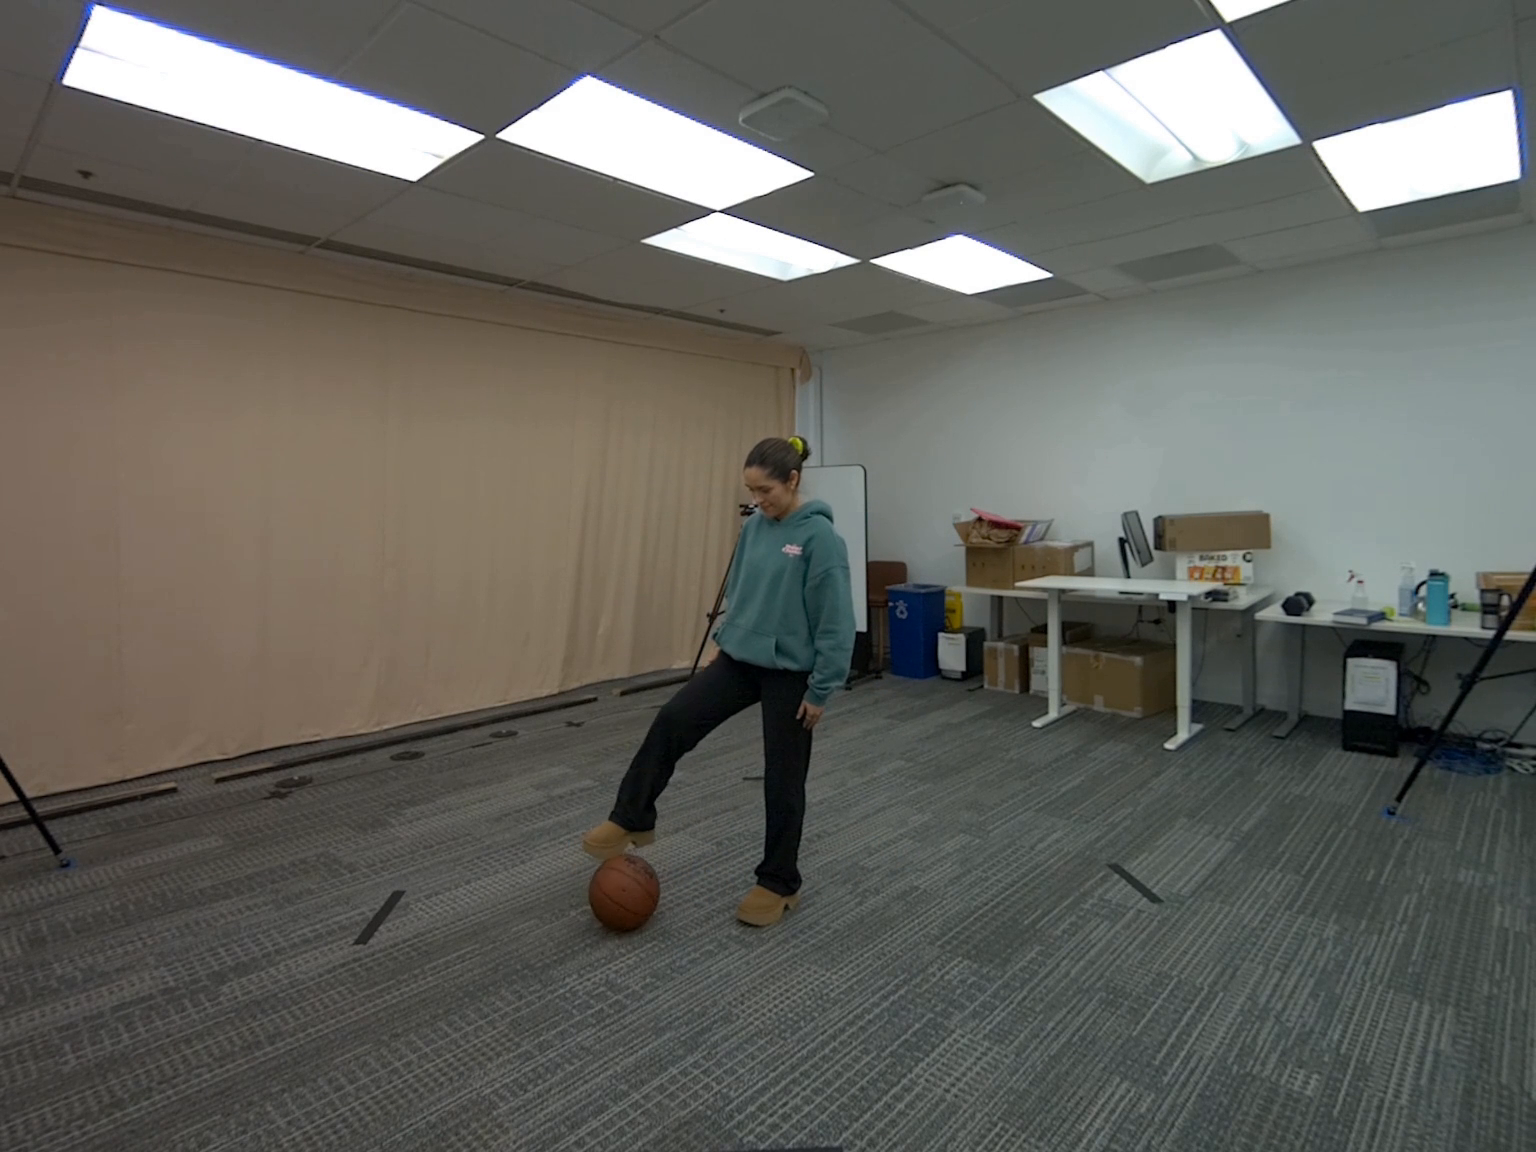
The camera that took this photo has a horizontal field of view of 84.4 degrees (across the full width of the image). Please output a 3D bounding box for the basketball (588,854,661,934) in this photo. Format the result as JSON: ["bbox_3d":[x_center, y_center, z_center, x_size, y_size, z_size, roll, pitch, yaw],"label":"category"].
[{"bbox_3d":[-0.464,1.049,2.797,0.236,0.235,0.237,-1,4,-2],"label":"basketball"}]
